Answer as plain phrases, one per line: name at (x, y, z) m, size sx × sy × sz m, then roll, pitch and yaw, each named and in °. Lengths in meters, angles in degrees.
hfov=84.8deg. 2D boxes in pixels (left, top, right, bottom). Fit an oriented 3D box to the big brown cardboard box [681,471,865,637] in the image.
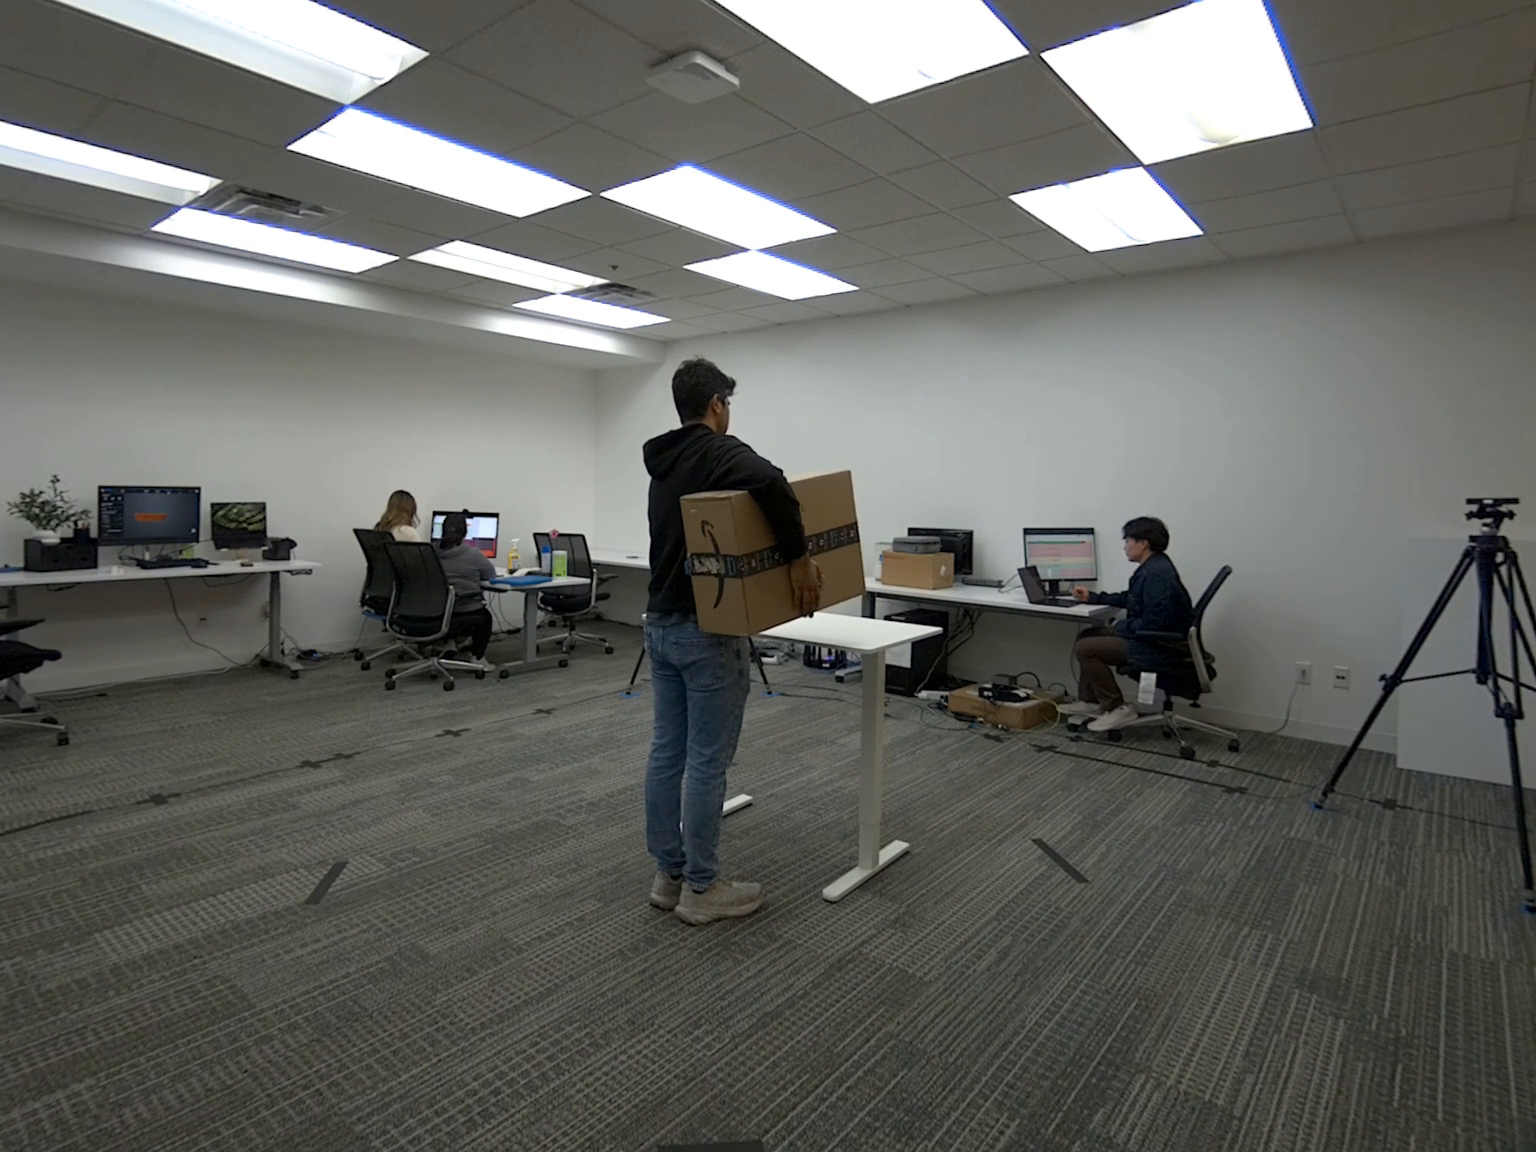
big brown cardboard box at (0.015, -0.085, 2.672) m, size 0.575 × 0.414 × 0.240 m, roll -16°, pitch 11°, yaw -42°
